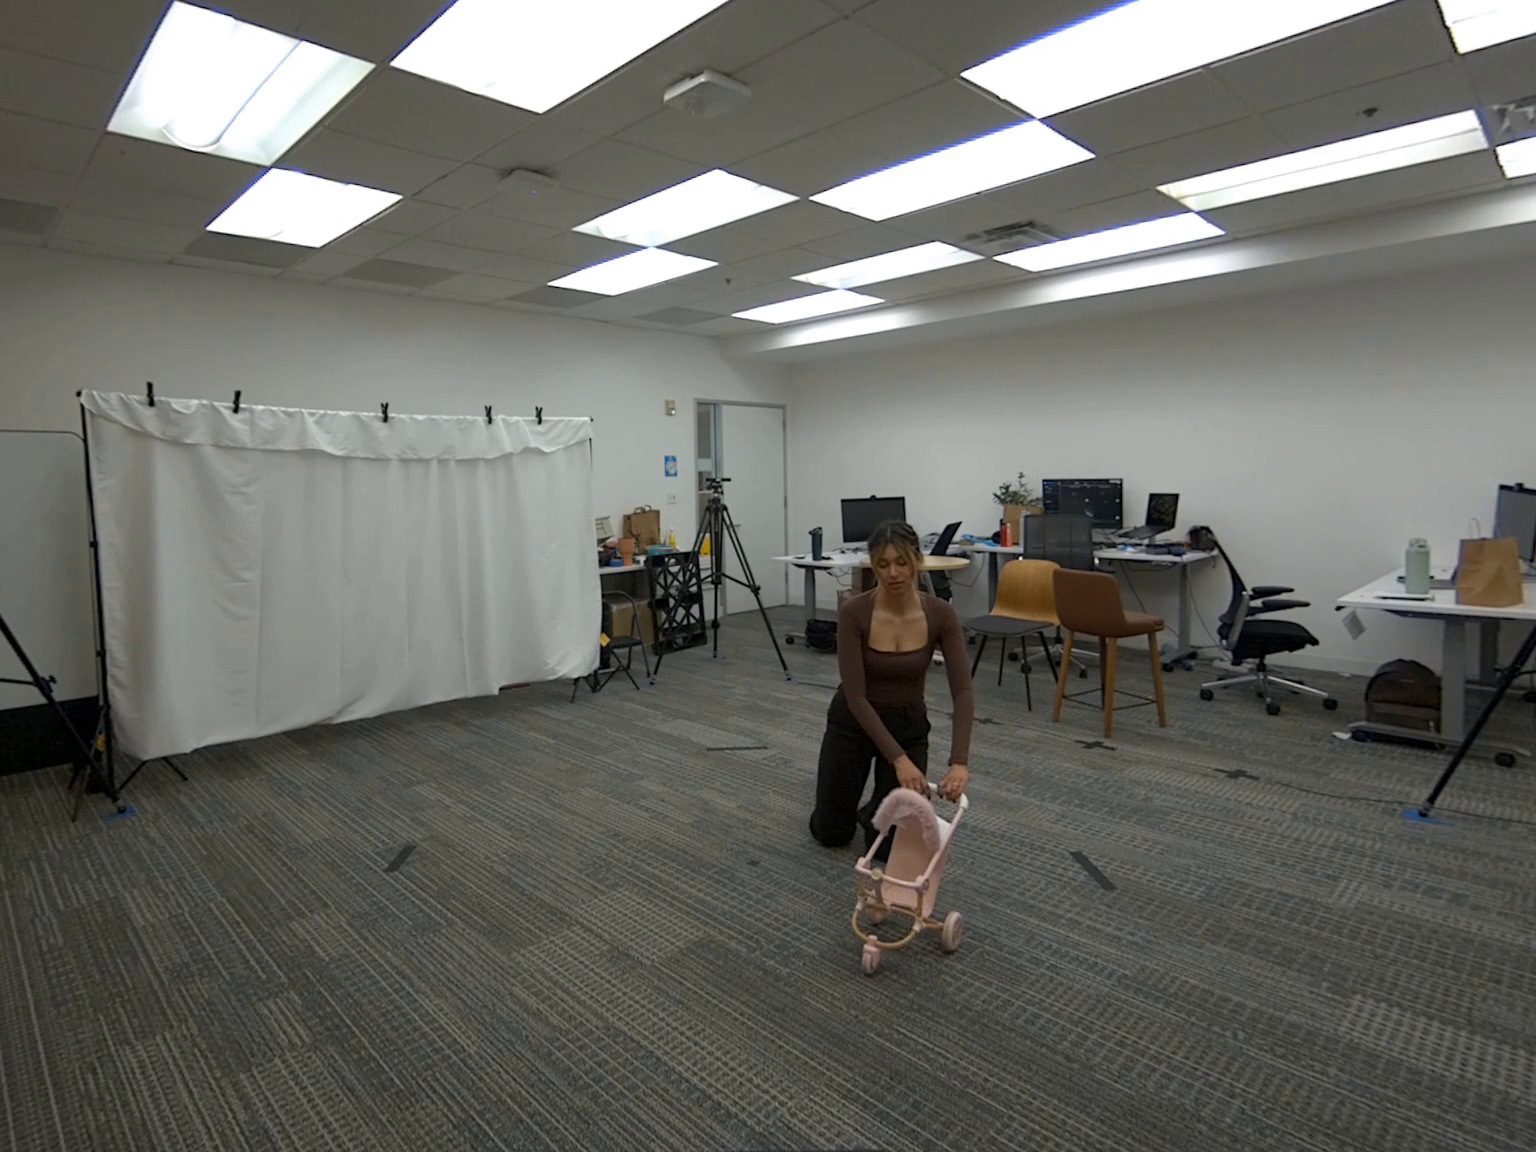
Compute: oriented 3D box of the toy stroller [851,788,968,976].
[{"bbox_3d":[0.403,0.882,2.535,0.290,0.538,0.329,2,-11,43],"label":"toy stroller"}]
